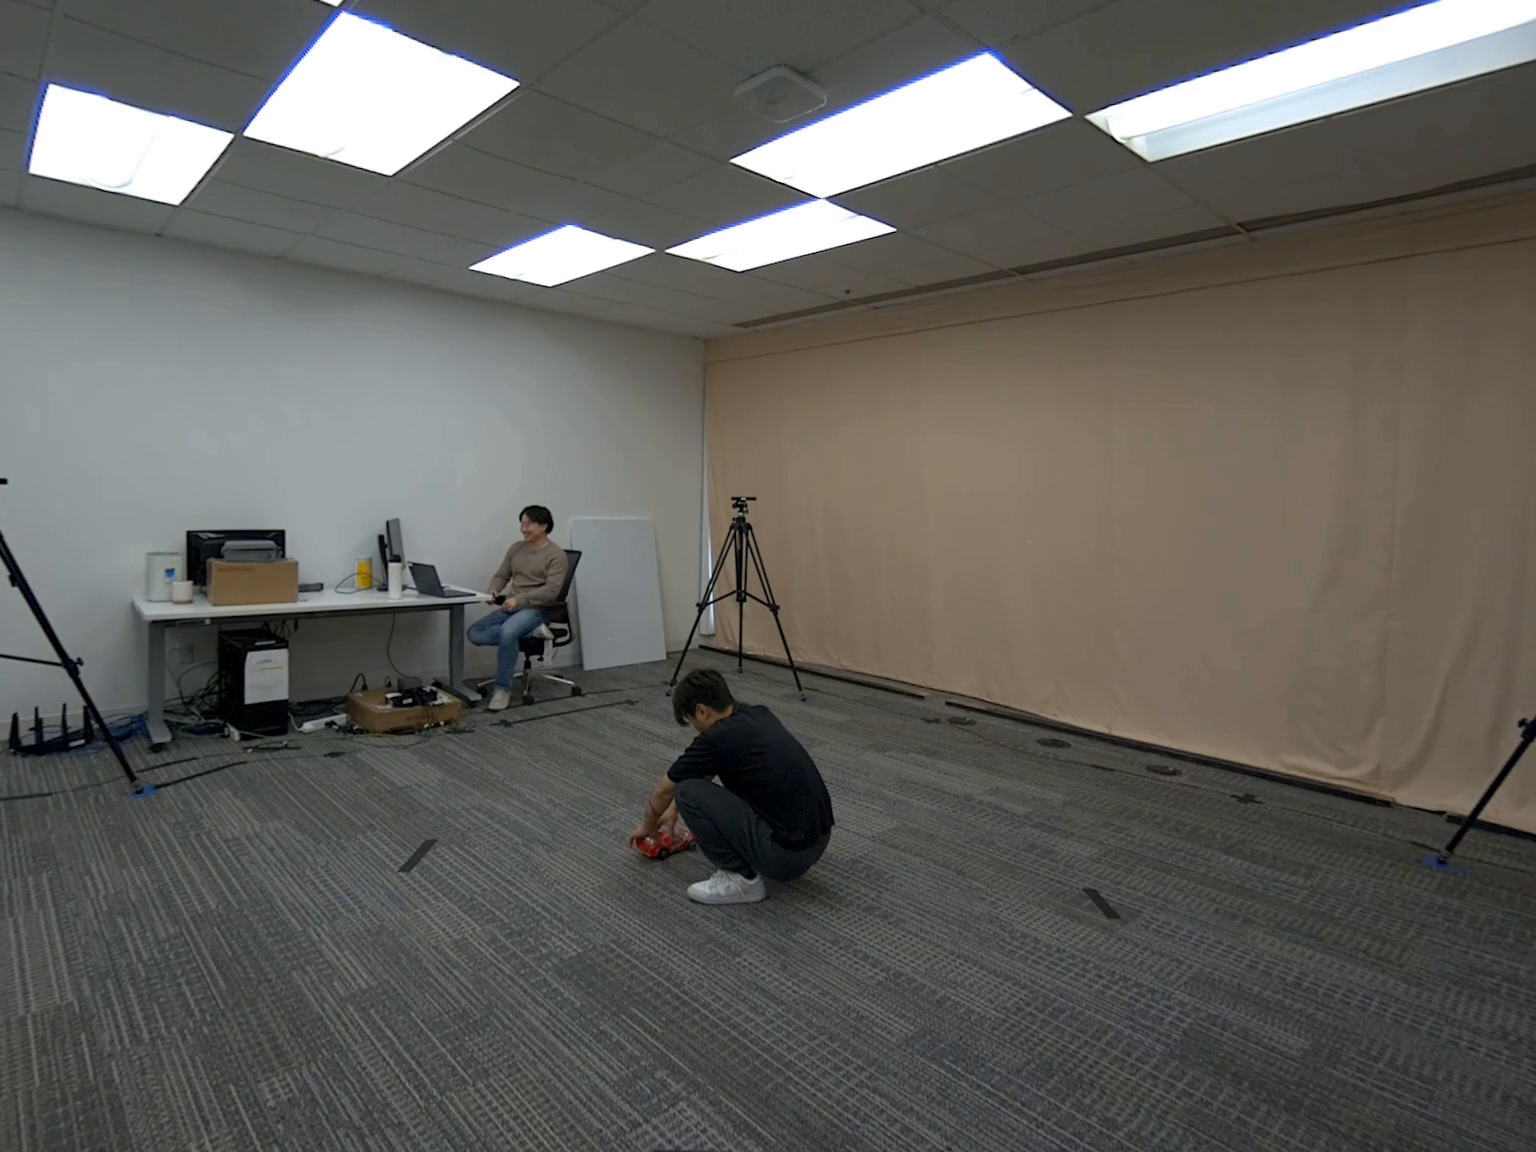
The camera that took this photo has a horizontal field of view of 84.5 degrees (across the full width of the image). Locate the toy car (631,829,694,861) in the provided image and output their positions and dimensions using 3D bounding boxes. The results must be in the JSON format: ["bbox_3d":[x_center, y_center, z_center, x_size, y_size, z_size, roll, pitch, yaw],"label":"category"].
[{"bbox_3d":[-0.407,1.051,3.304,0.248,0.083,0.134,9,-1,-42],"label":"toy car"}]
